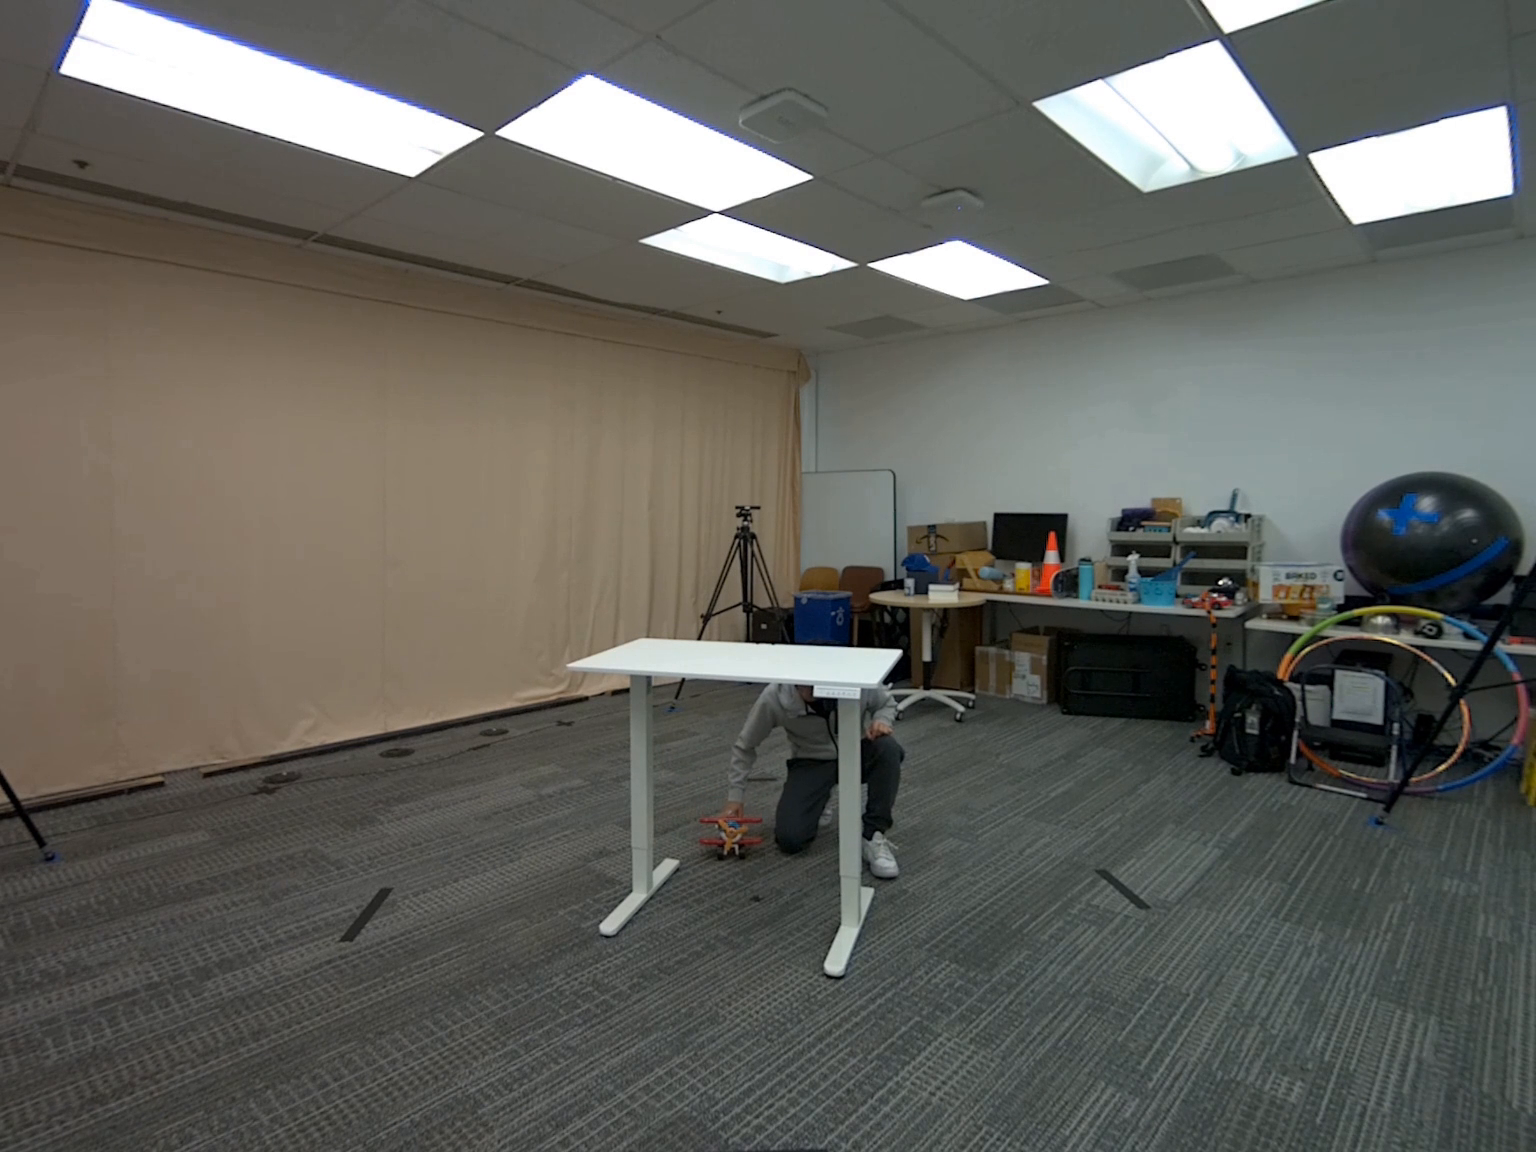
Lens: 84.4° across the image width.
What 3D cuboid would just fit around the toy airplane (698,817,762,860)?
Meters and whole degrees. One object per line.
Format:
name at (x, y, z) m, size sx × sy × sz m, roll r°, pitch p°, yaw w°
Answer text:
toy airplane at (-0.167, 1.041, 3.409) m, size 0.244 × 0.156 × 0.267 m, roll -2°, pitch 5°, yaw -30°
